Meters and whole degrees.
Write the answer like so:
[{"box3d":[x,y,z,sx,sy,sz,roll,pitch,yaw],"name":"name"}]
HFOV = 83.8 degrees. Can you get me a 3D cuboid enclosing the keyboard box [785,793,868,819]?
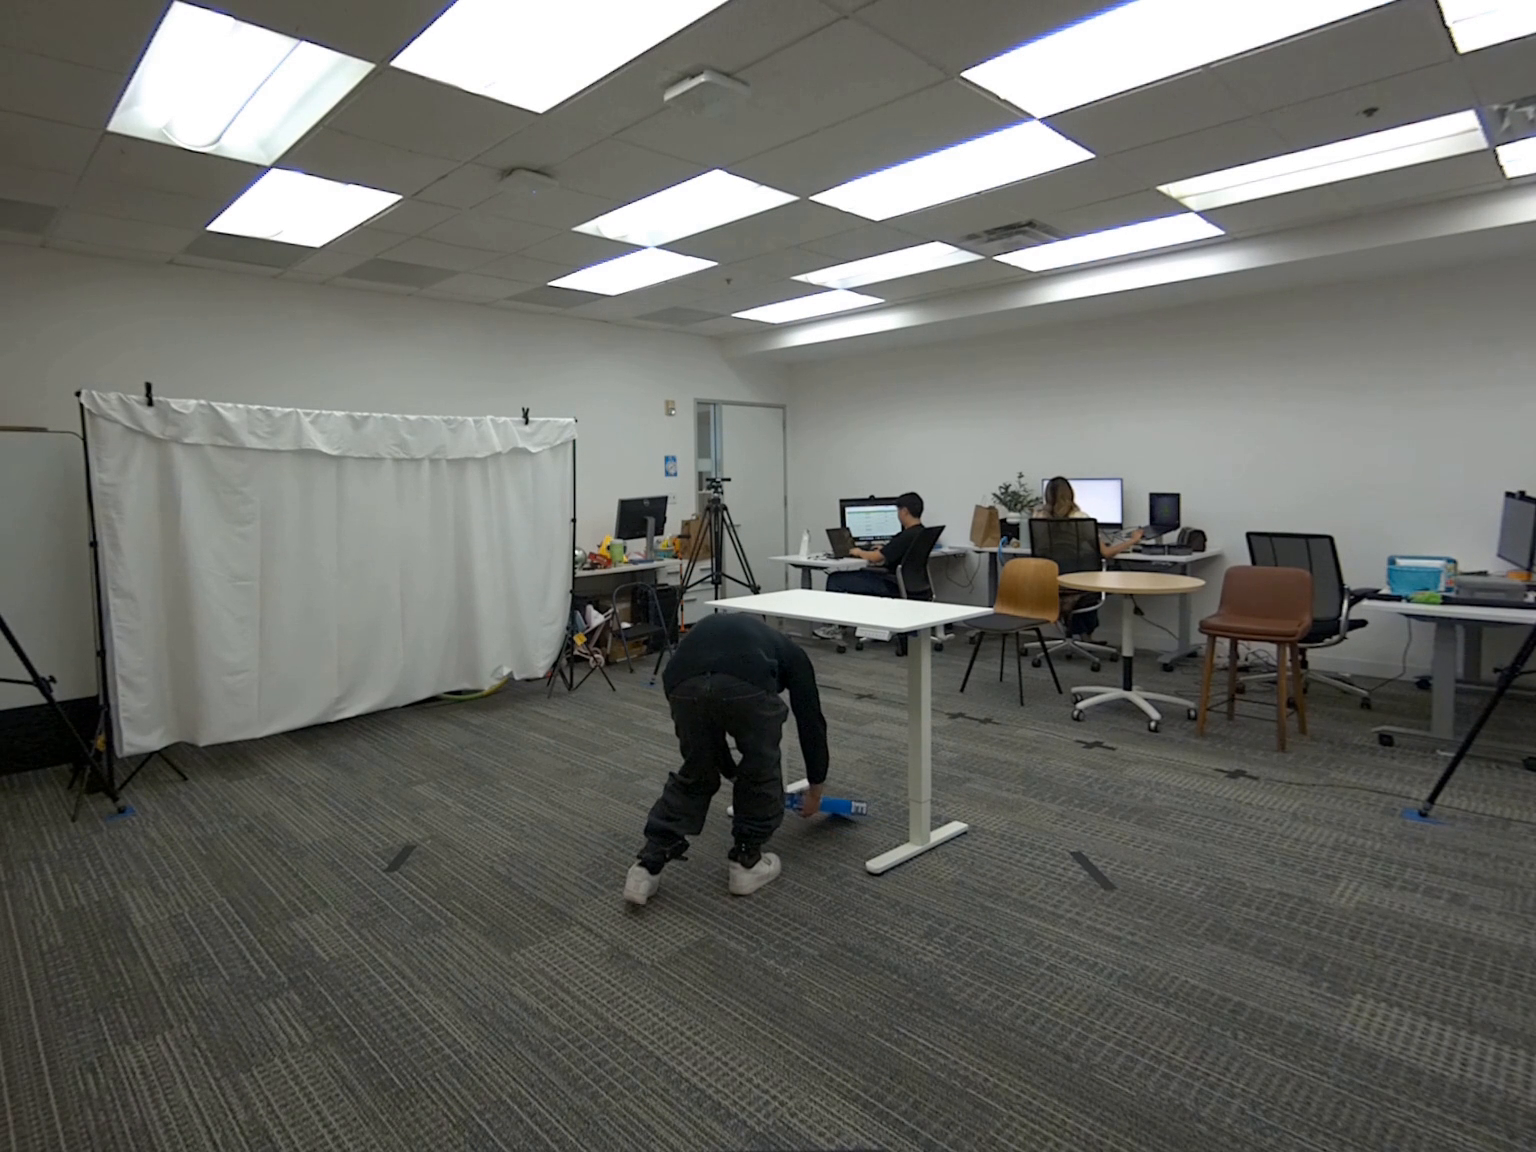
[{"box3d":[0.192,0.903,3.384,0.422,0.060,0.180,16,-16,-38],"name":"keyboard box"}]
